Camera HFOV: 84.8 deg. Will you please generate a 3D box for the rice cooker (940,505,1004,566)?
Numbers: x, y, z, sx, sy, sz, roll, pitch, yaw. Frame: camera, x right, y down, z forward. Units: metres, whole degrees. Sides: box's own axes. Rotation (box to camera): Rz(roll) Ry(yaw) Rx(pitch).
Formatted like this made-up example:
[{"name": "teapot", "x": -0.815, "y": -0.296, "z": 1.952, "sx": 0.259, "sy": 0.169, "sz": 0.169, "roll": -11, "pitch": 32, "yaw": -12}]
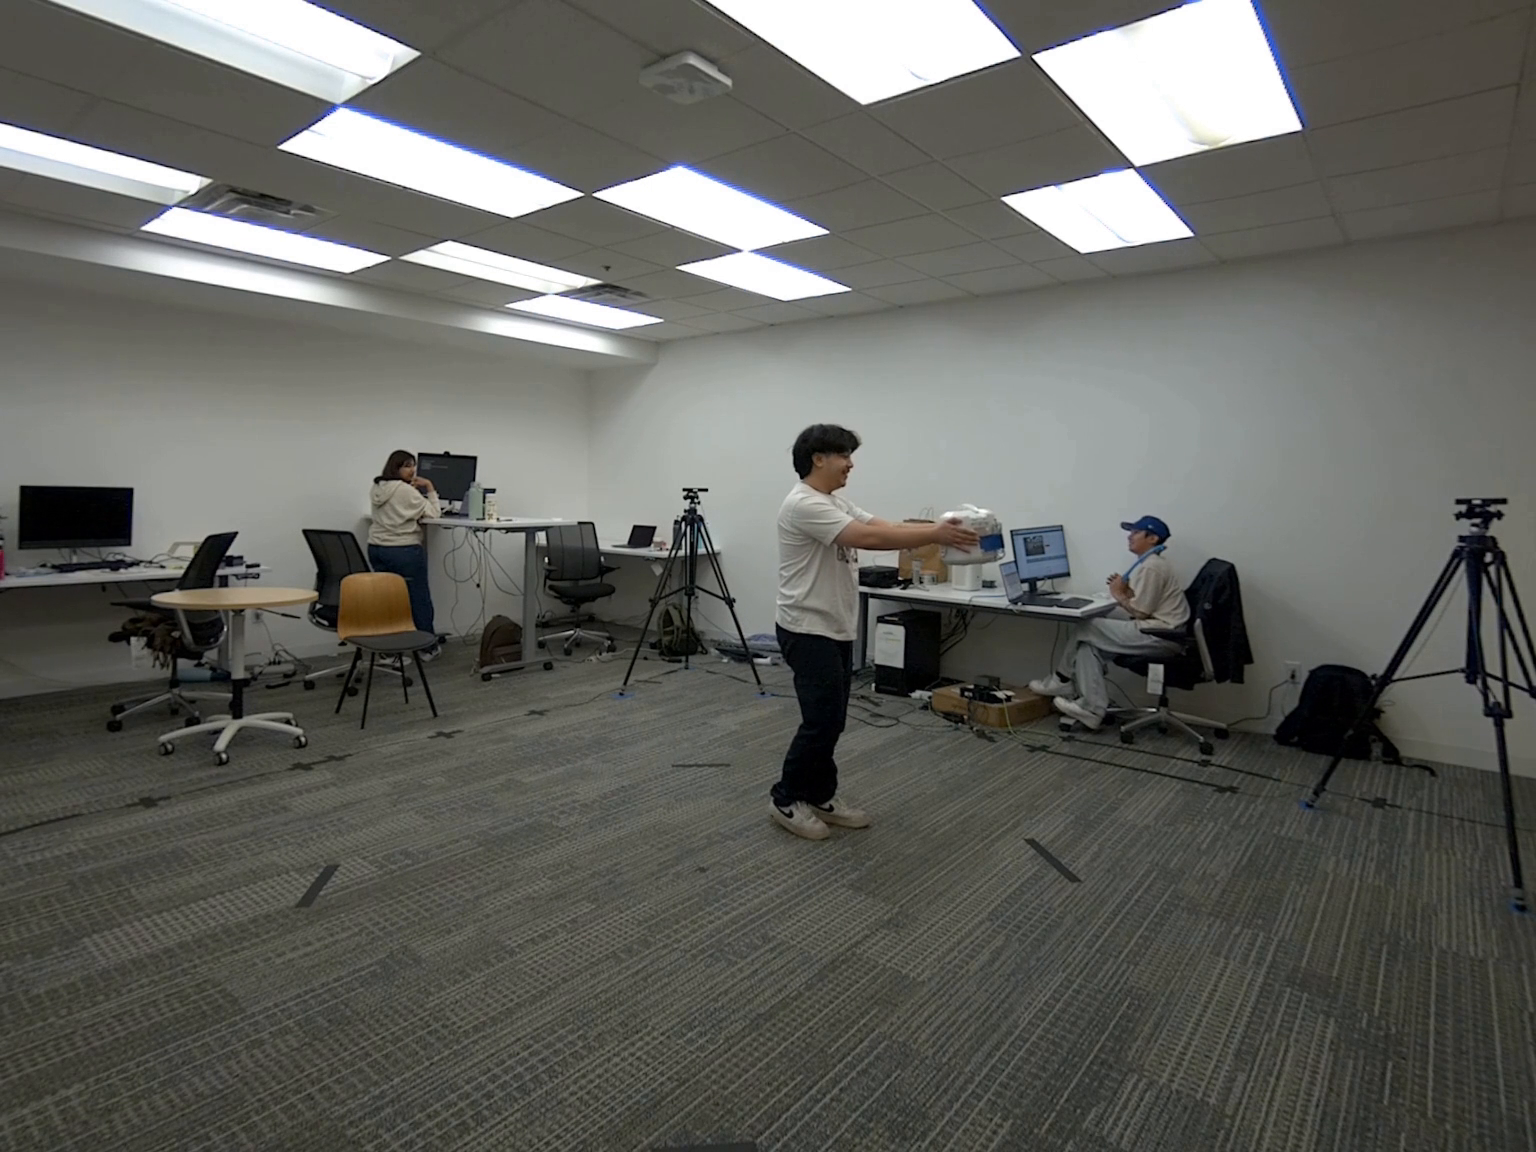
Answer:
[{"name": "rice cooker", "x": 0.764, "y": -0.164, "z": 3.277, "sx": 0.215, "sy": 0.232, "sz": 0.223, "roll": -5, "pitch": 2, "yaw": -10}]
